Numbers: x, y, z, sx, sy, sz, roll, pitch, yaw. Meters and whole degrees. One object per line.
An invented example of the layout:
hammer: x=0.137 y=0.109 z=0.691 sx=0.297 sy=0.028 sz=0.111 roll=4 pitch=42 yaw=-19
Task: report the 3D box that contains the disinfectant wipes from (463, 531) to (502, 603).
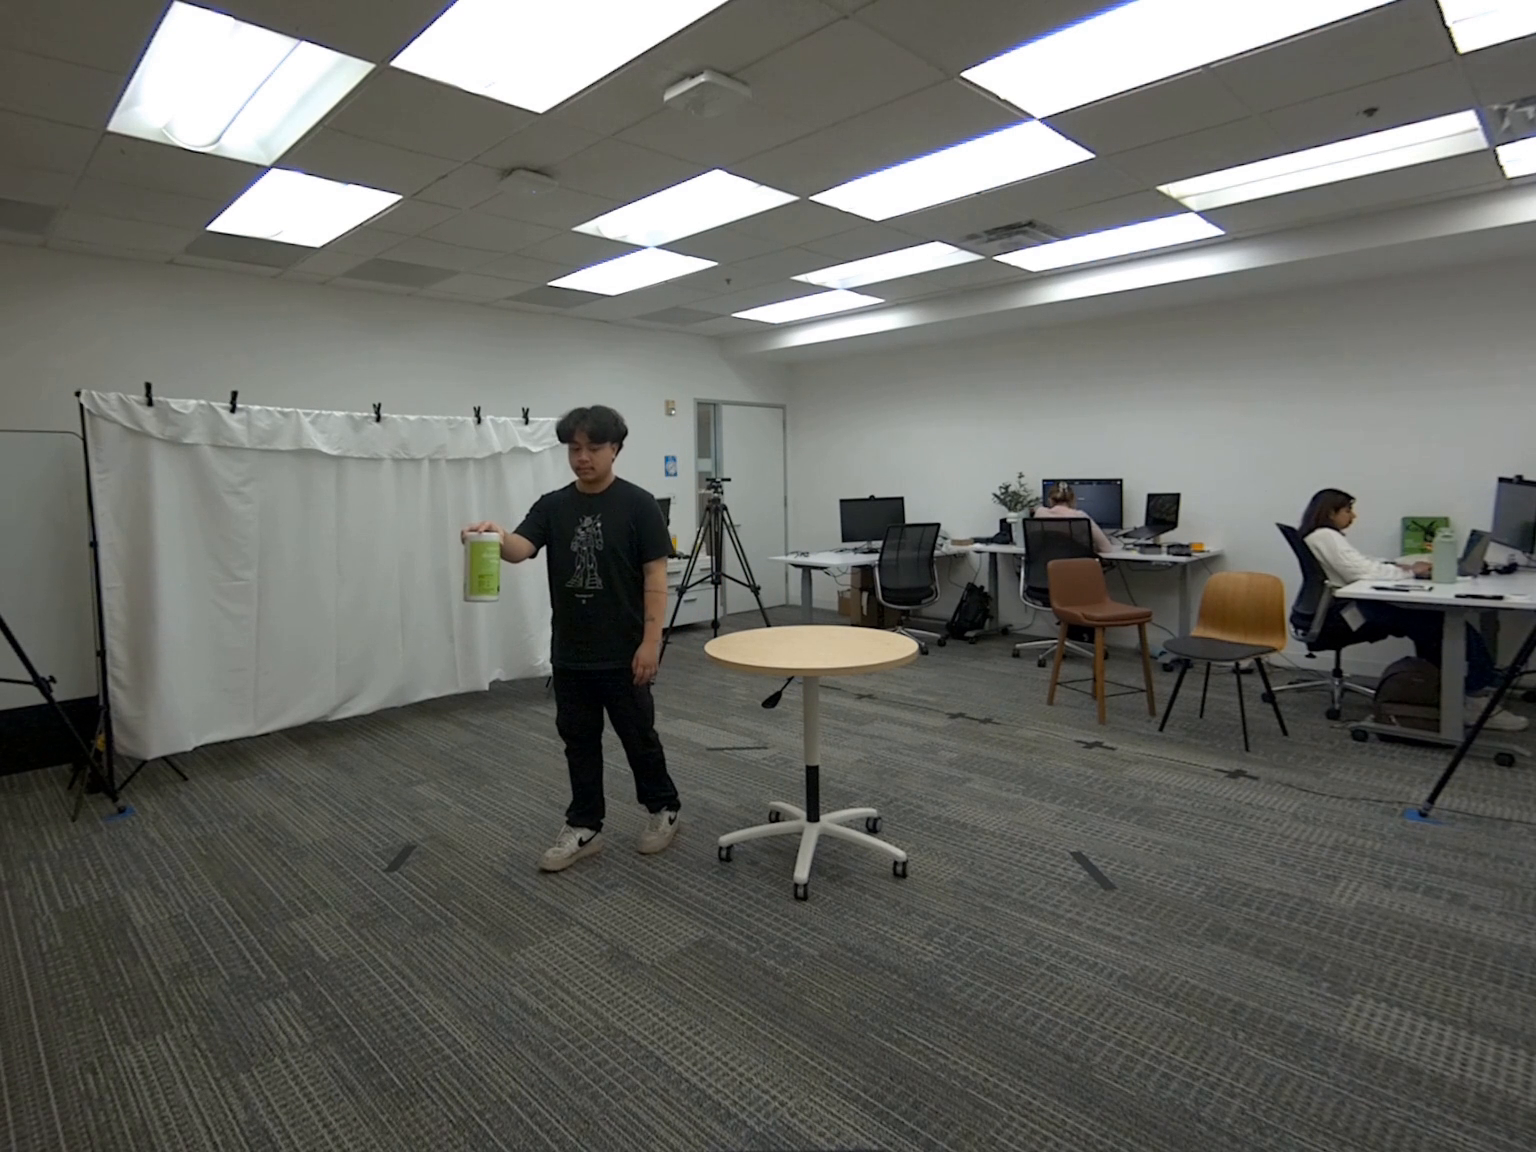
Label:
disinfectant wipes: x=-0.901 y=-0.025 z=2.670 sx=0.118 sy=0.217 sz=0.118 roll=0 pitch=0 yaw=-2
